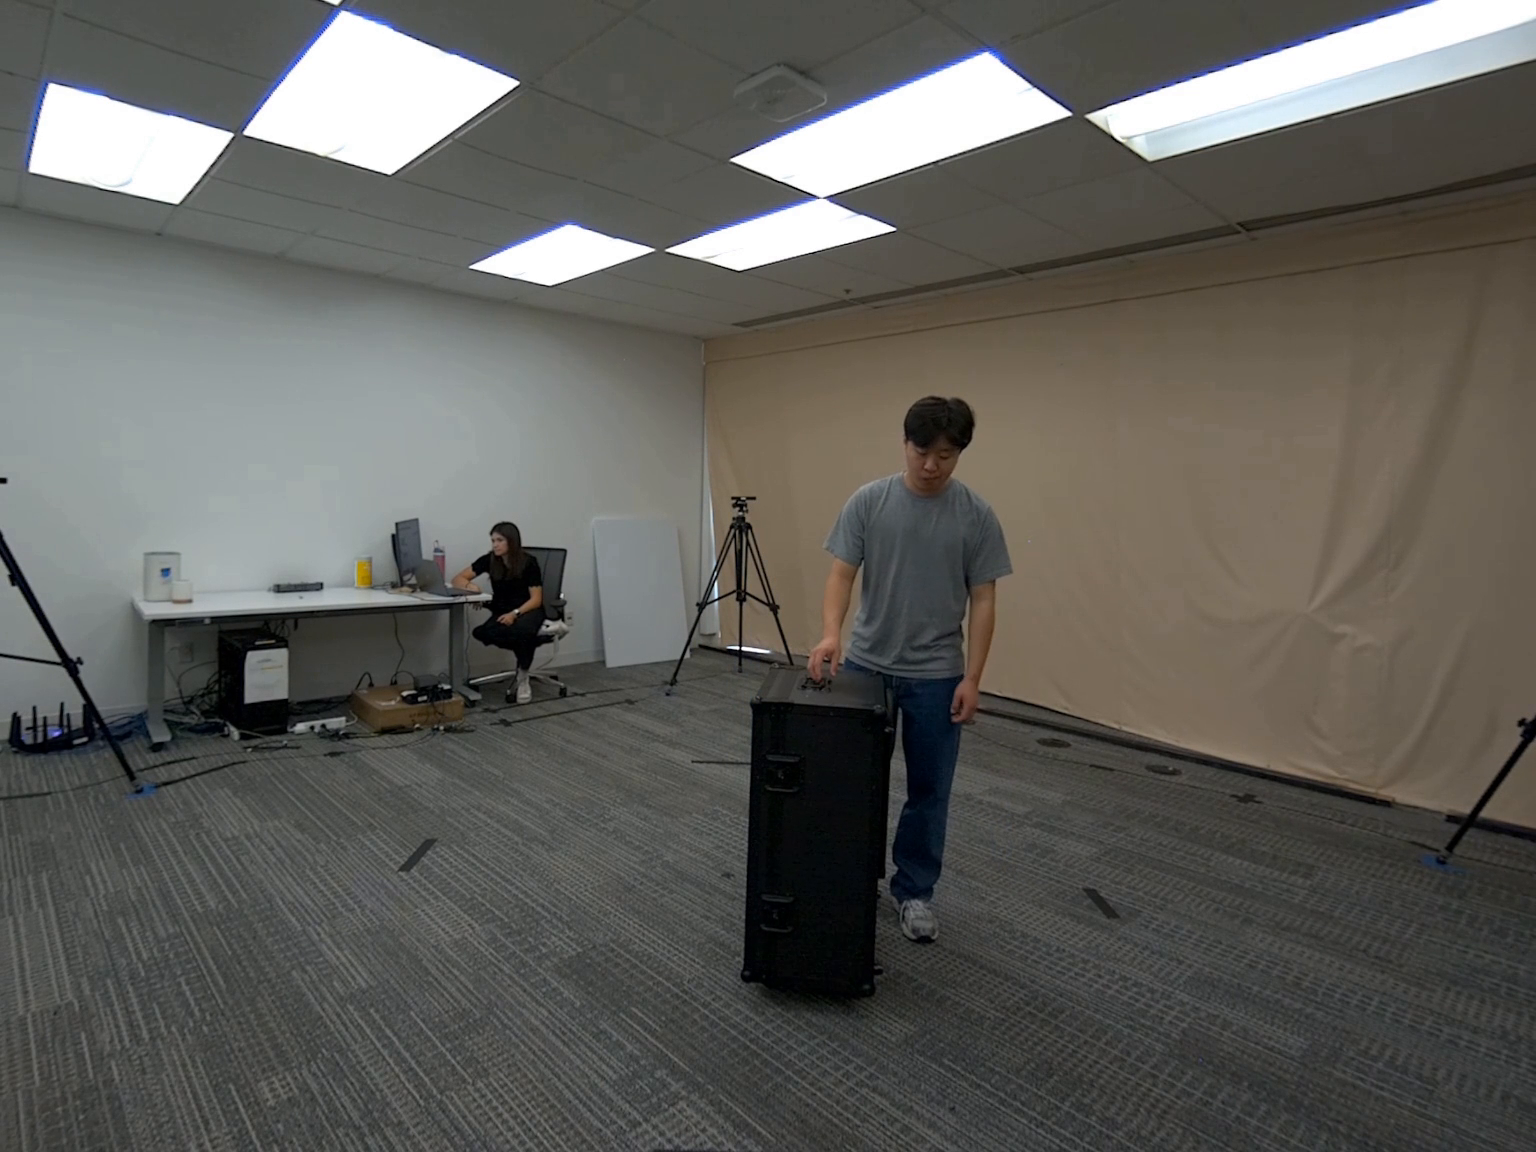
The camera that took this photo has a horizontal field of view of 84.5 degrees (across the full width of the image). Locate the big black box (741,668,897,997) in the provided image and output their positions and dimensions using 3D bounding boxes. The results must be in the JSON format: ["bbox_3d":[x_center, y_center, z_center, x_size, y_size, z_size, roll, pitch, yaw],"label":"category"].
[{"bbox_3d":[0.149,0.751,2.480,0.399,0.859,0.519,3,4,8],"label":"big black box"}]
